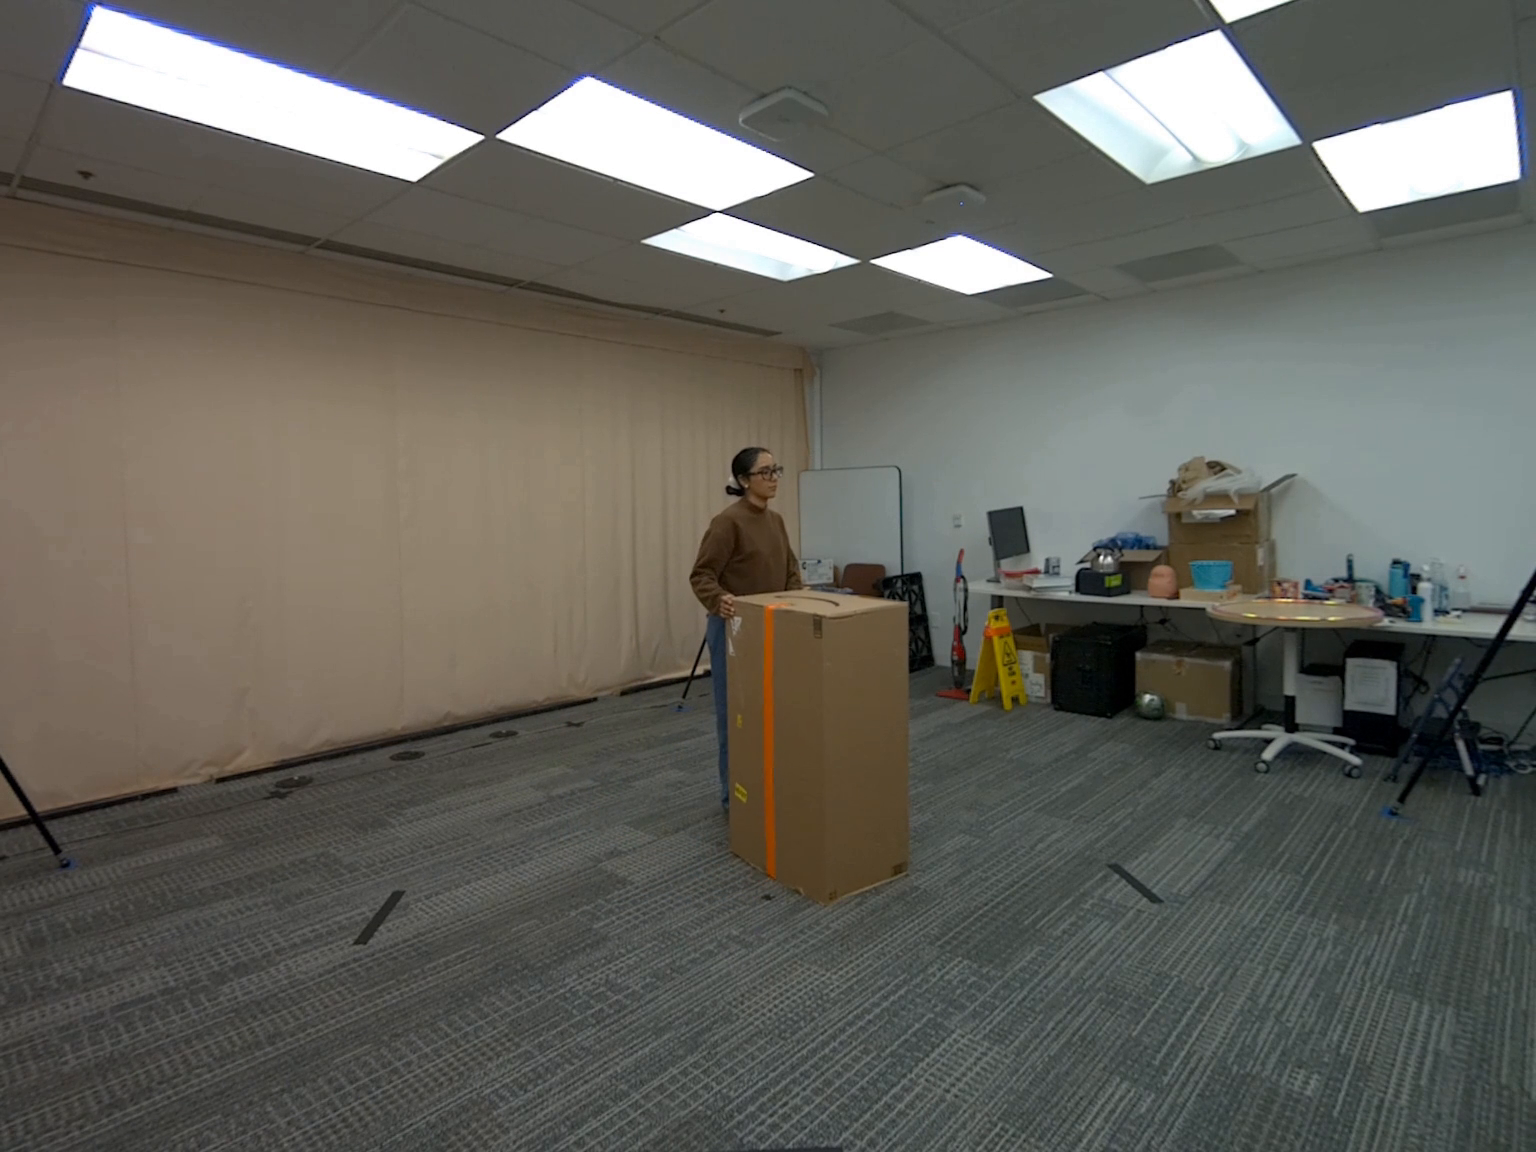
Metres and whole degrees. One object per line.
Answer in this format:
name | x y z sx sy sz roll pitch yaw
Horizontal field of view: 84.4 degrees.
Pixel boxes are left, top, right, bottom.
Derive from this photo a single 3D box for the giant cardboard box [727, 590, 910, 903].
giant cardboard box | 0.187 0.604 3.217 0.414 1.023 0.596 -4 6 -36
